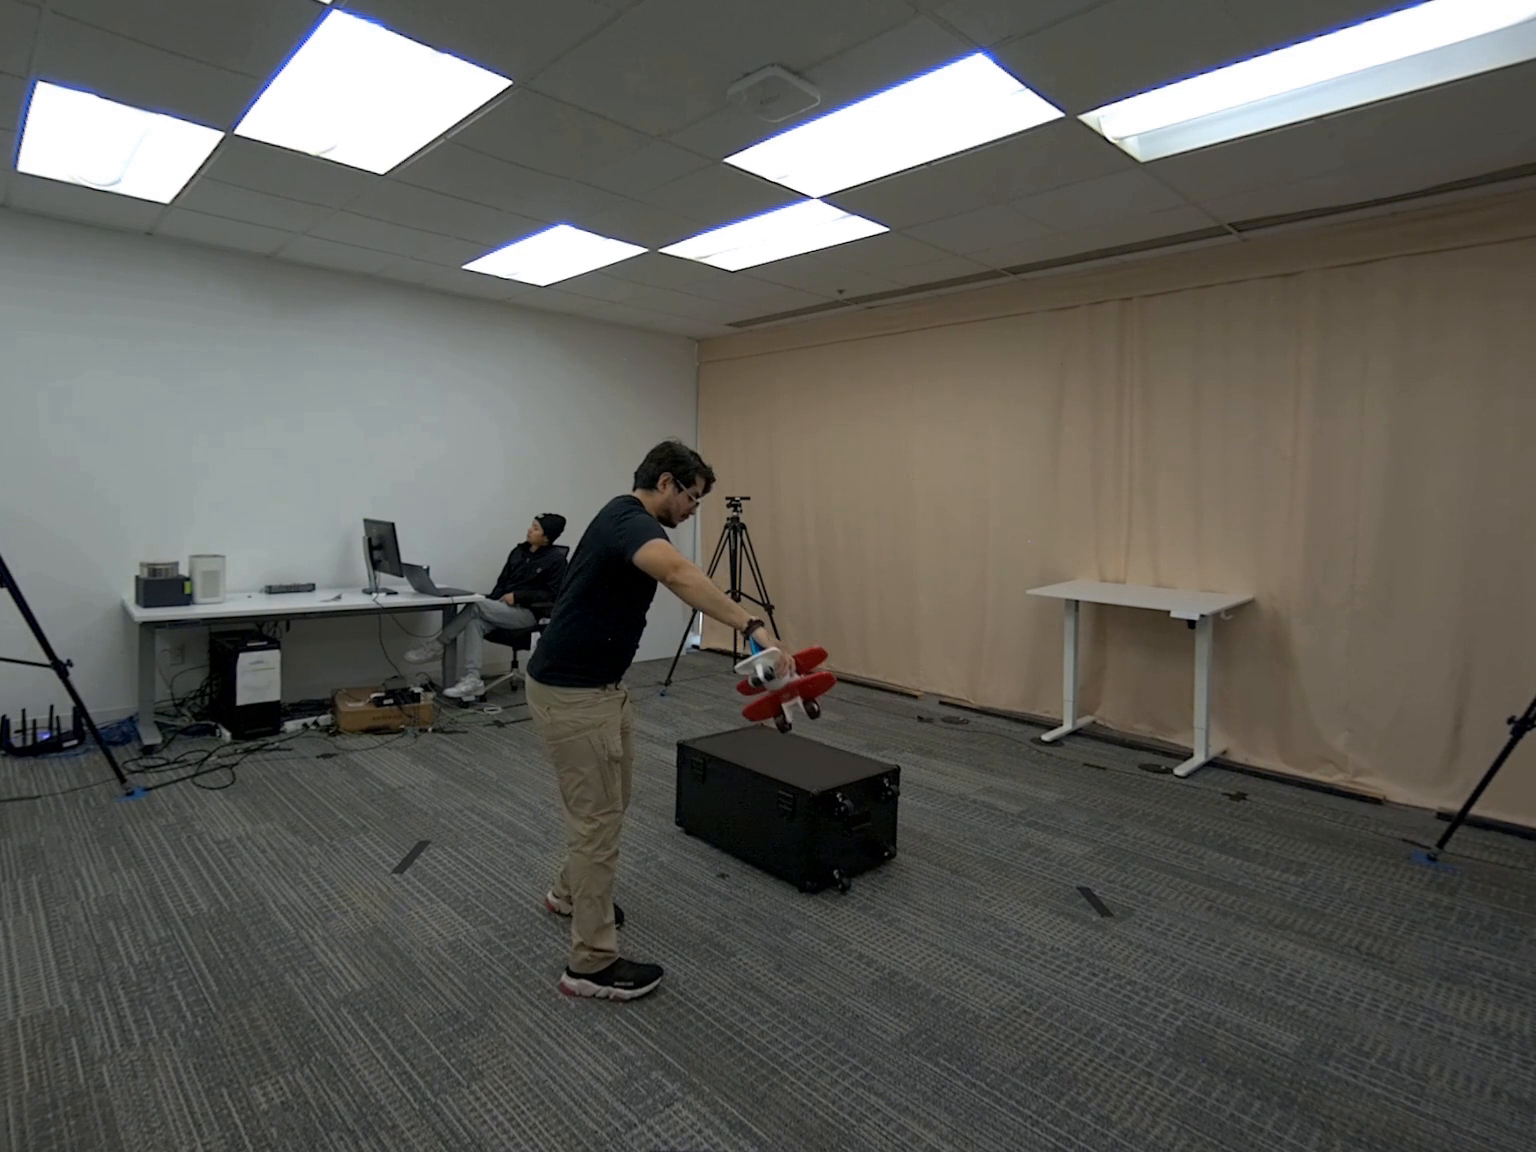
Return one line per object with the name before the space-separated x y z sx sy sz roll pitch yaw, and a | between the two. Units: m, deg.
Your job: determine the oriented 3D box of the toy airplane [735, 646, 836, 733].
toy airplane | 0.027 0.260 2.097 0.250 0.253 0.160 -5 37 -3
